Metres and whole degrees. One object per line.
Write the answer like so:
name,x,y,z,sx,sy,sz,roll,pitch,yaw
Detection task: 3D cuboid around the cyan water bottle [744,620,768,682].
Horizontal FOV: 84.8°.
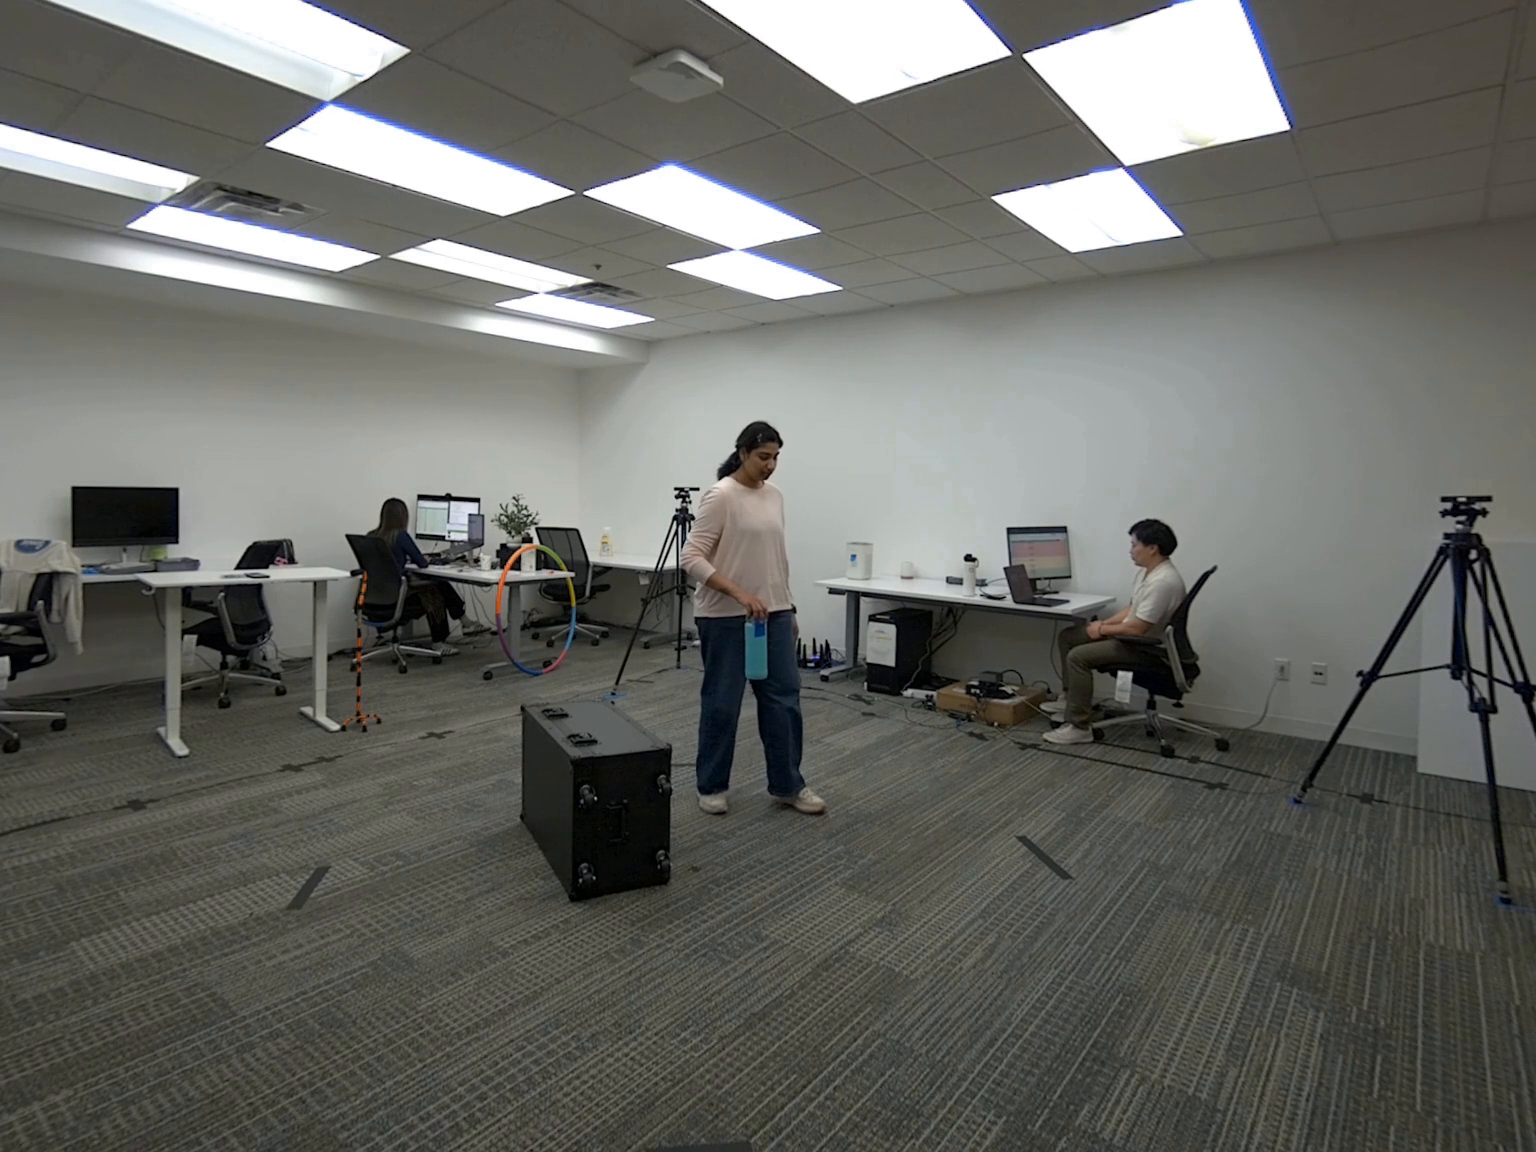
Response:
cyan water bottle,-0.053,0.263,3.449,0.092,0.282,0.093,-1,6,-2
